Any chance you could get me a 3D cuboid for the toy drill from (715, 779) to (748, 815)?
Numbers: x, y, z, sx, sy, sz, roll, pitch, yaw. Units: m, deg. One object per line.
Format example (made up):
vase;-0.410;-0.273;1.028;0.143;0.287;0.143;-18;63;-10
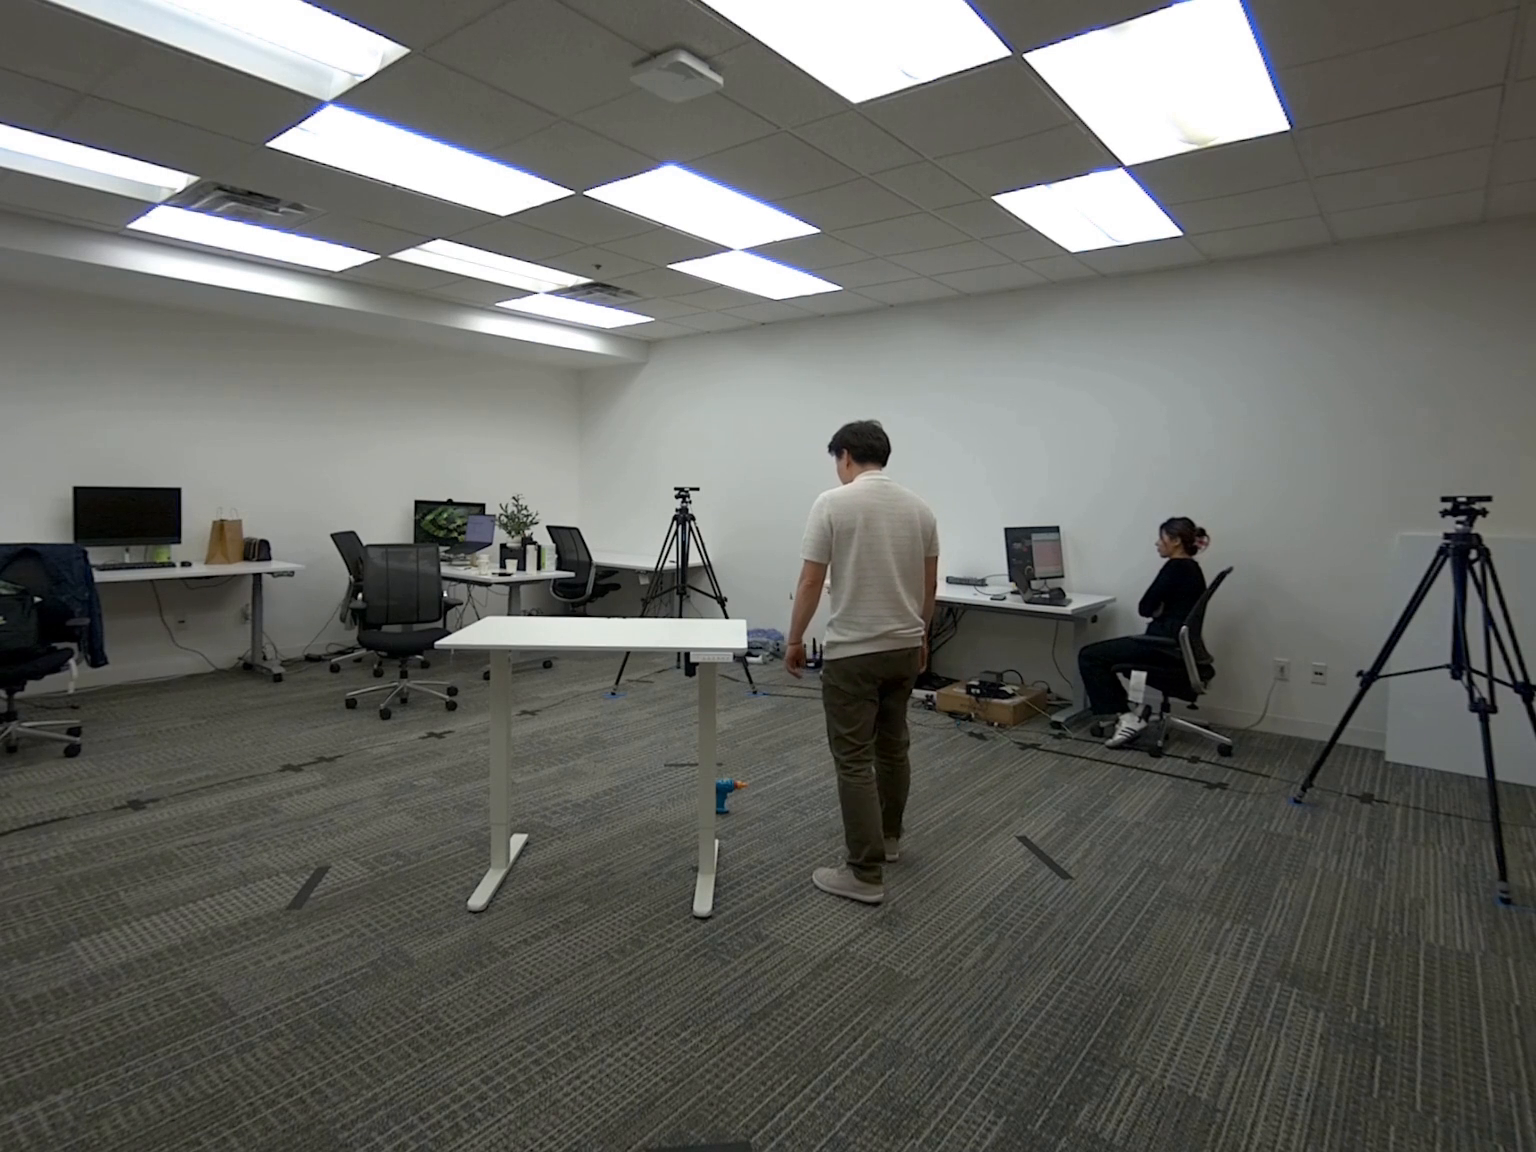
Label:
toy drill;-0.173;0.940;3.662;0.168;0.145;0.062;-1;5;-12
